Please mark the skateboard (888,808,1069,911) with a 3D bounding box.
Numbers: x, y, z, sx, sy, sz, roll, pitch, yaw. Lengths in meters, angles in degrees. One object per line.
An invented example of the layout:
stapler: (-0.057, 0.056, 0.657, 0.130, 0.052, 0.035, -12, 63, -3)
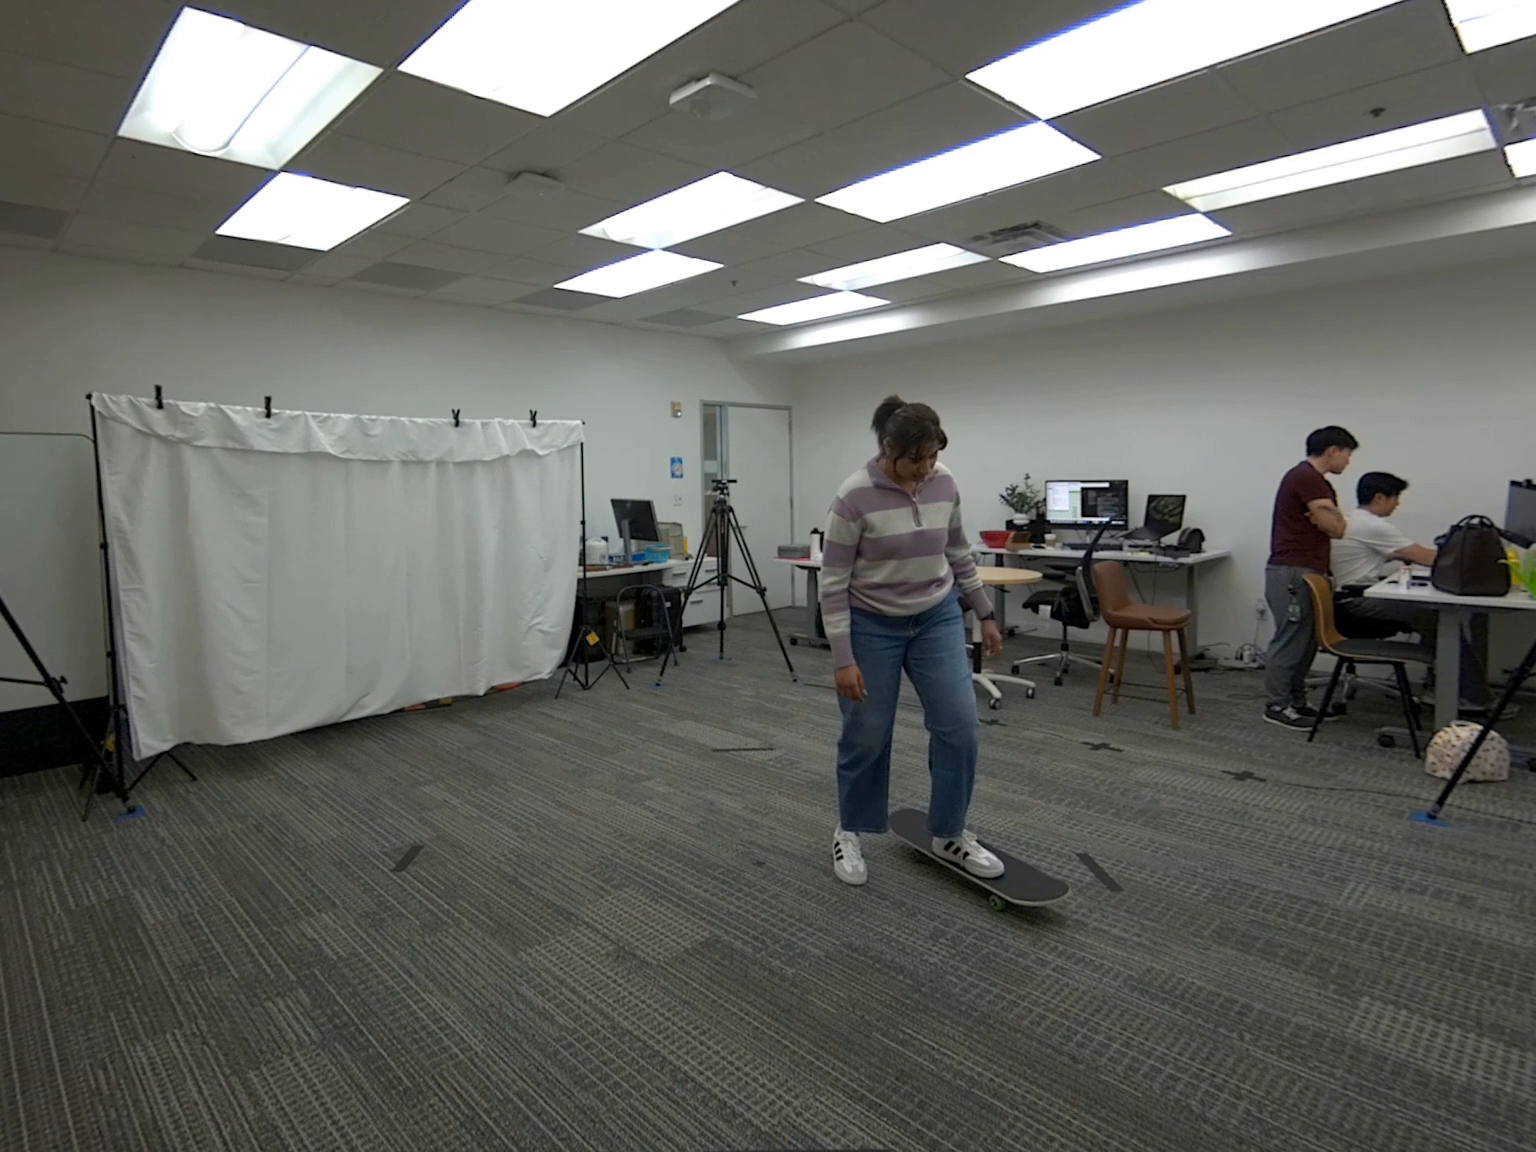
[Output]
skateboard: (0.703, 0.994, 2.952, 0.190, 0.109, 0.806, -10, 9, -28)
